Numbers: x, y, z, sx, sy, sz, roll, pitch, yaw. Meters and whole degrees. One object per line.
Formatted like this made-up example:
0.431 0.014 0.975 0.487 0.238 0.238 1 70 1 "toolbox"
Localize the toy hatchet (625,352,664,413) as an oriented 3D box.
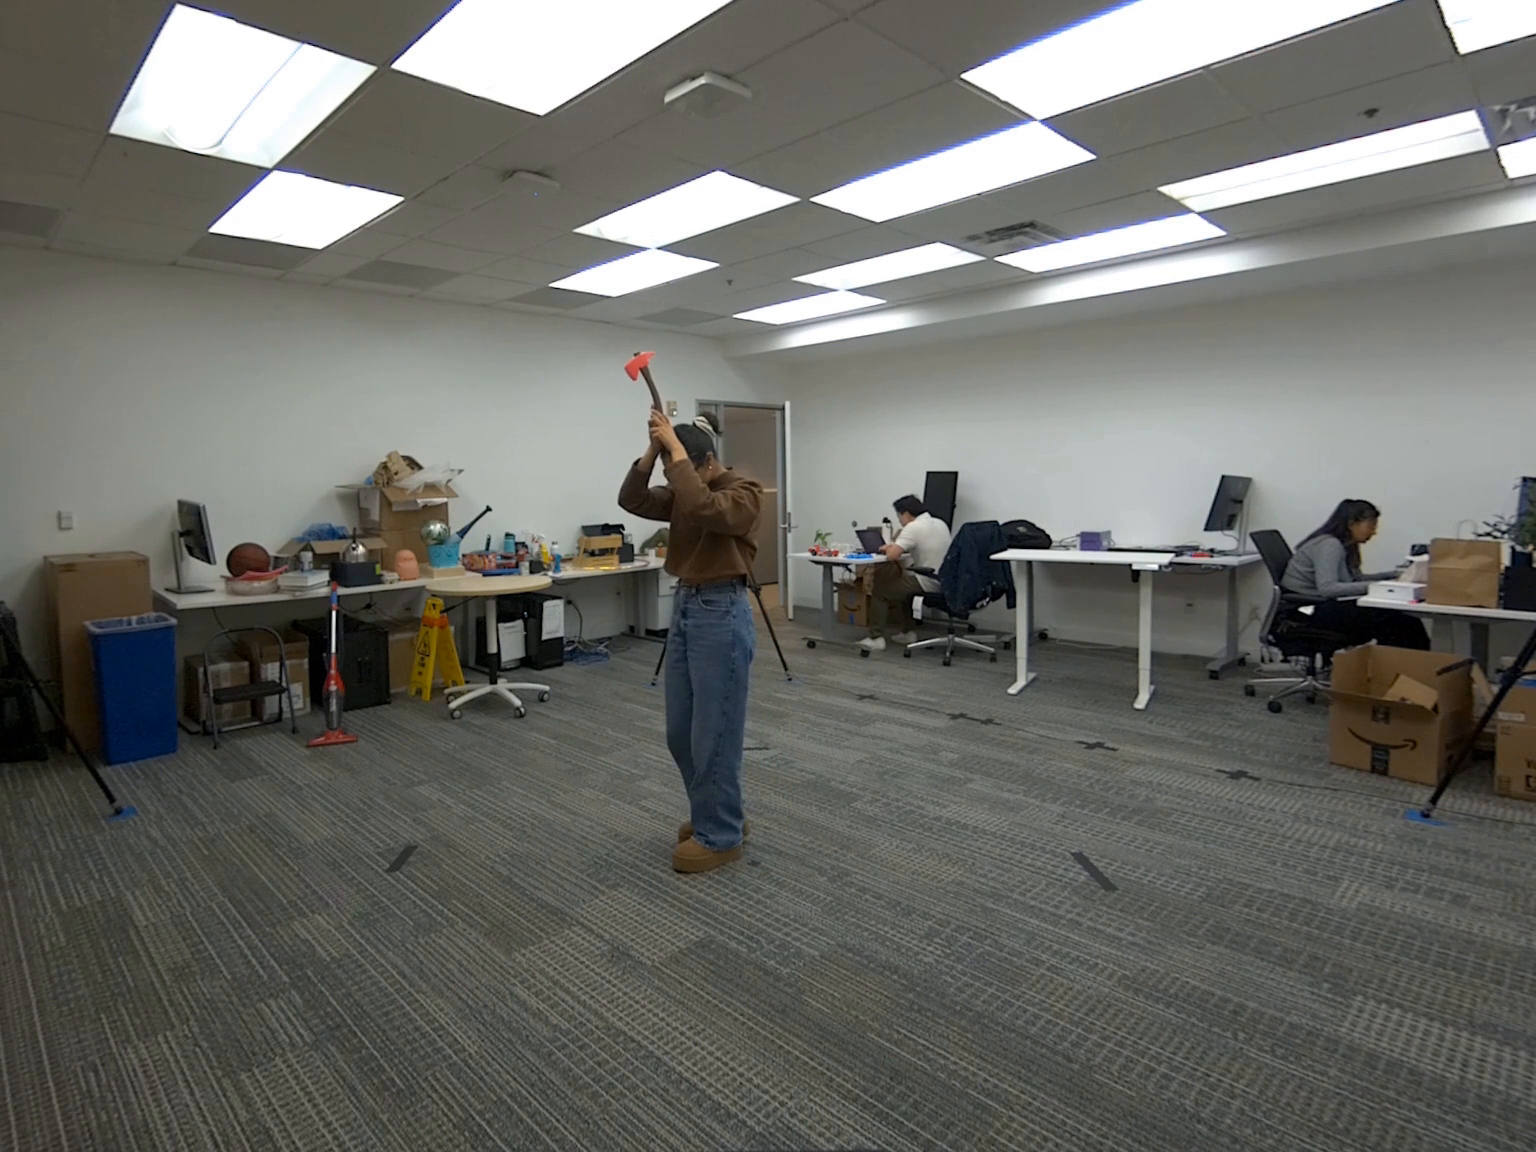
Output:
-0.413 -0.625 2.886 0.128 0.267 0.030 -18 13 -41 "toy hatchet"
